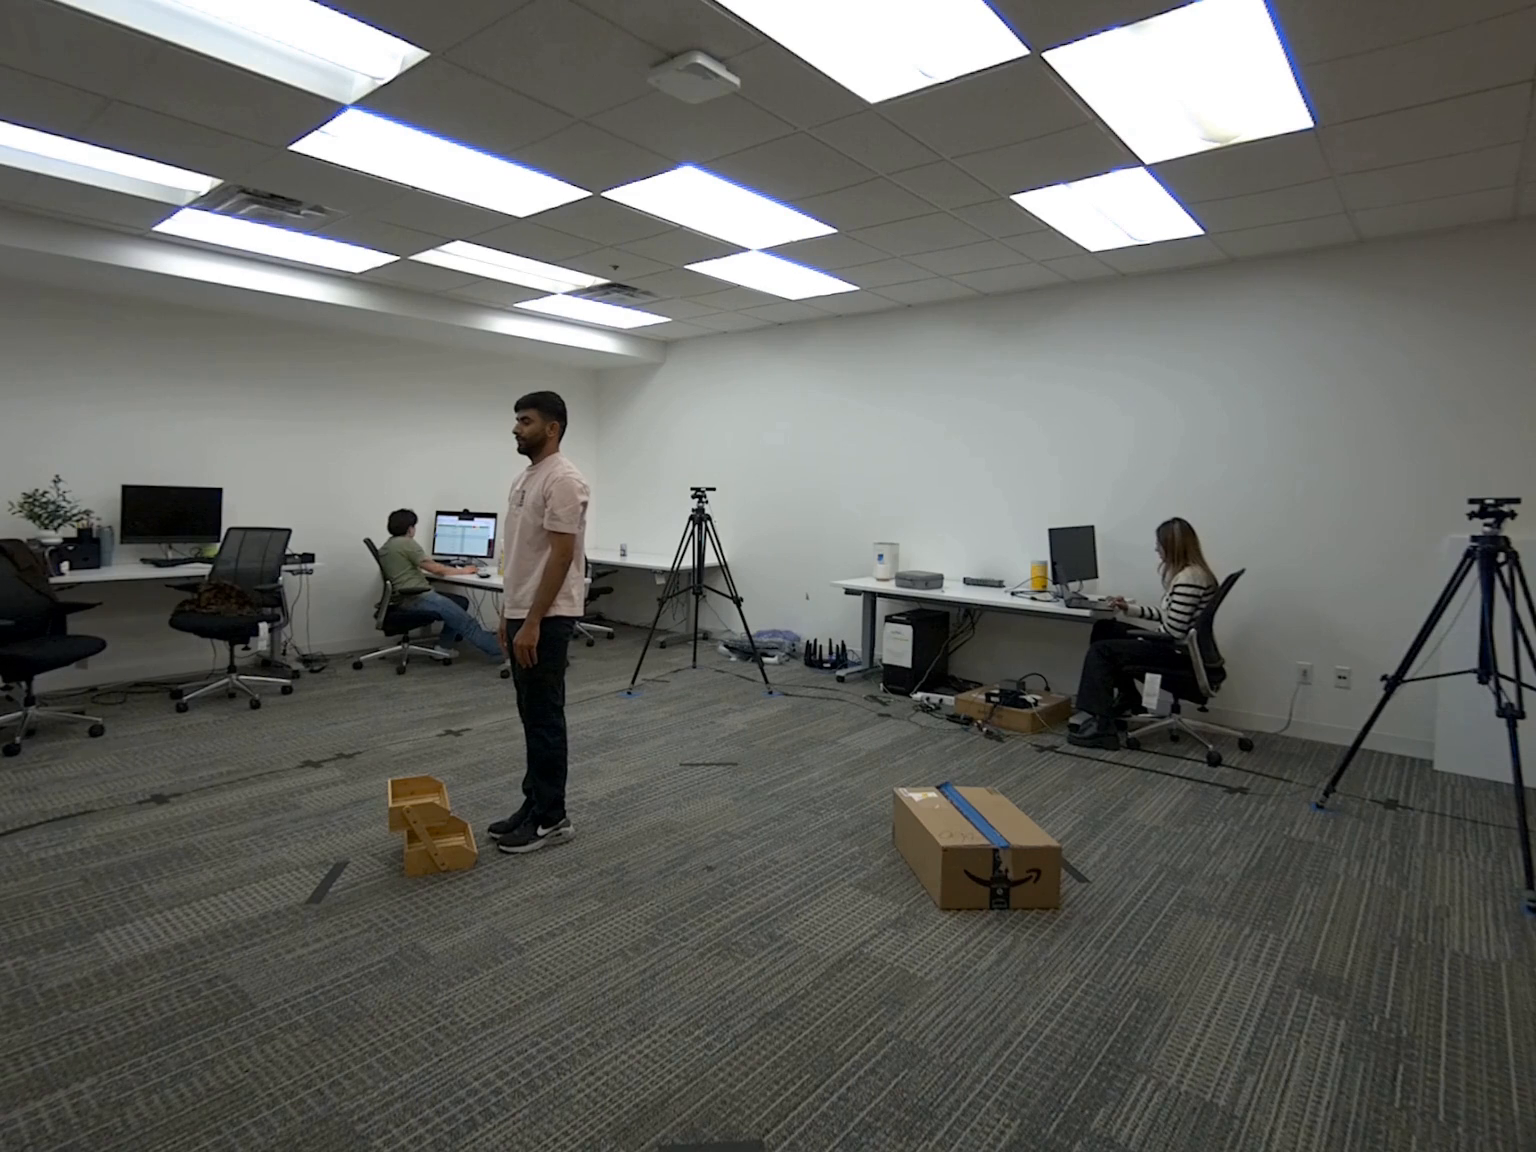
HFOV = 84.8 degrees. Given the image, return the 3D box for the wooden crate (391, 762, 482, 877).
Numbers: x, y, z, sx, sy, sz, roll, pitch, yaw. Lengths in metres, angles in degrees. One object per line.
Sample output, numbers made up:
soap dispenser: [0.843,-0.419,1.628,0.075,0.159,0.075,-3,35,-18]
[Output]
wooden crate: [-1.255,0.902,3.168,0.295,0.272,0.333,-2,5,-23]
